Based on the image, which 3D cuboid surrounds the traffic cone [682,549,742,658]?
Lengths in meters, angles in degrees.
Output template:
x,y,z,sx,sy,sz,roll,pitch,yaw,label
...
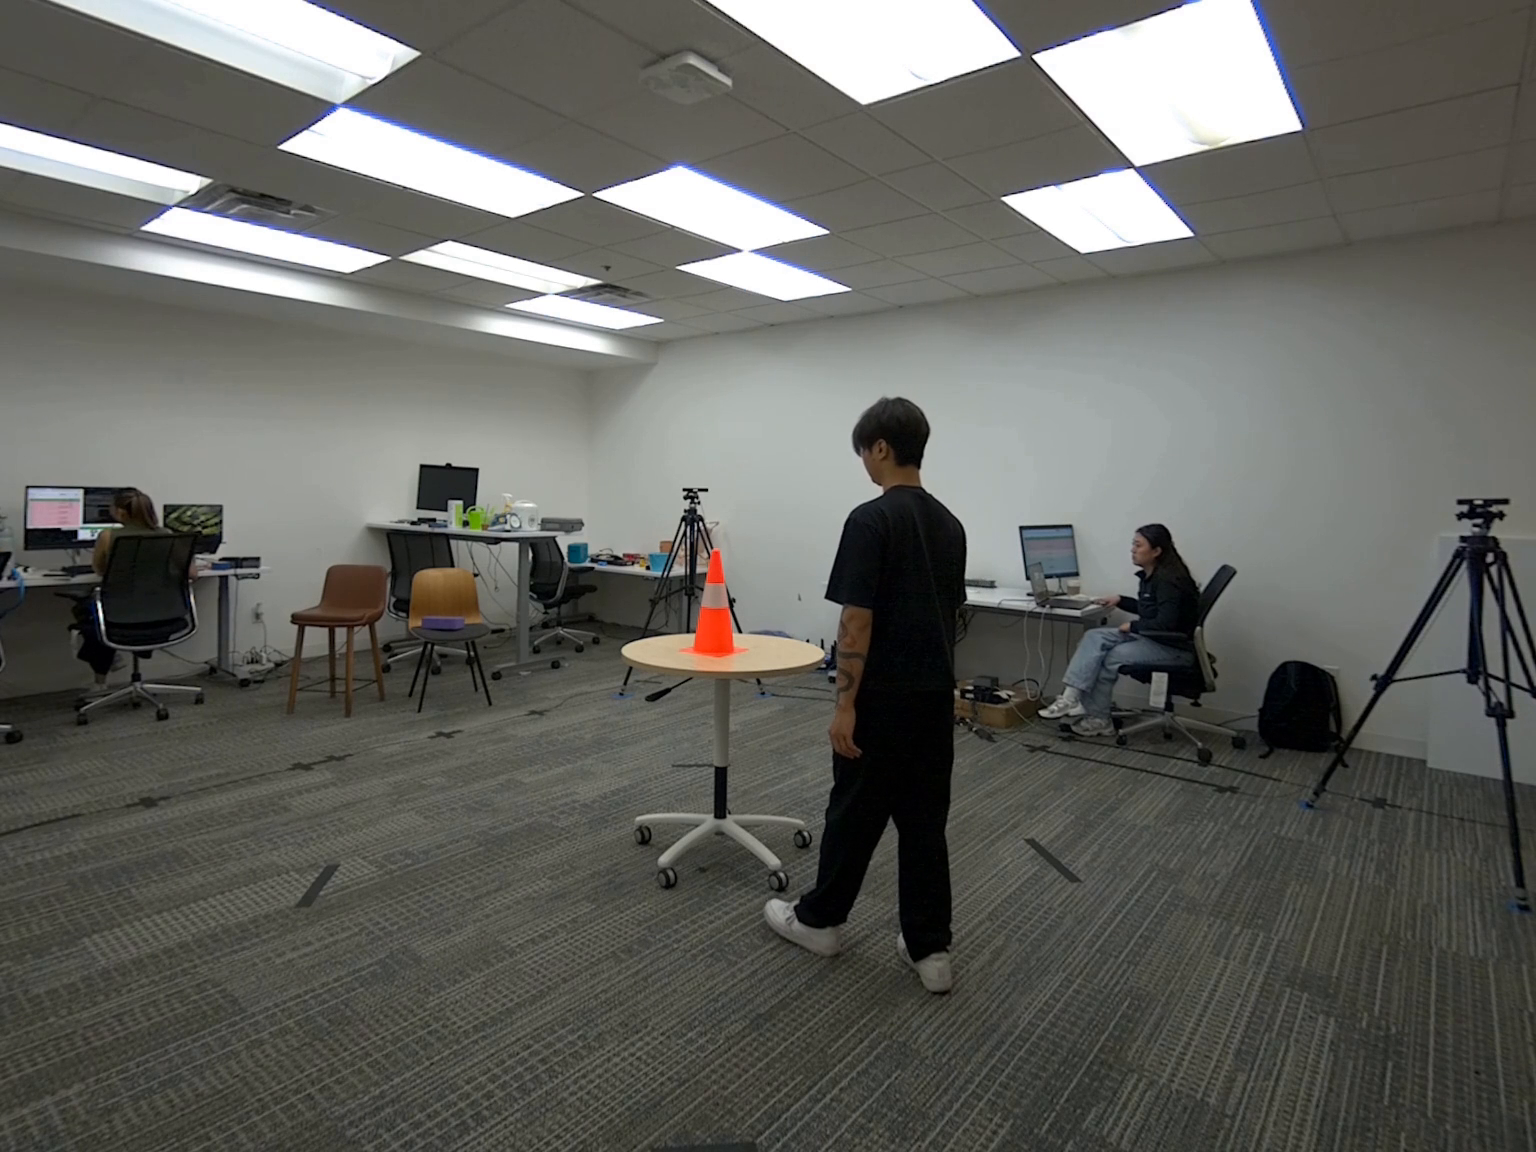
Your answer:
x,y,z,sx,sy,sz,roll,pitch,yaw,label
-0.210,0.094,3.194,0.211,0.382,0.198,4,5,31,traffic cone
